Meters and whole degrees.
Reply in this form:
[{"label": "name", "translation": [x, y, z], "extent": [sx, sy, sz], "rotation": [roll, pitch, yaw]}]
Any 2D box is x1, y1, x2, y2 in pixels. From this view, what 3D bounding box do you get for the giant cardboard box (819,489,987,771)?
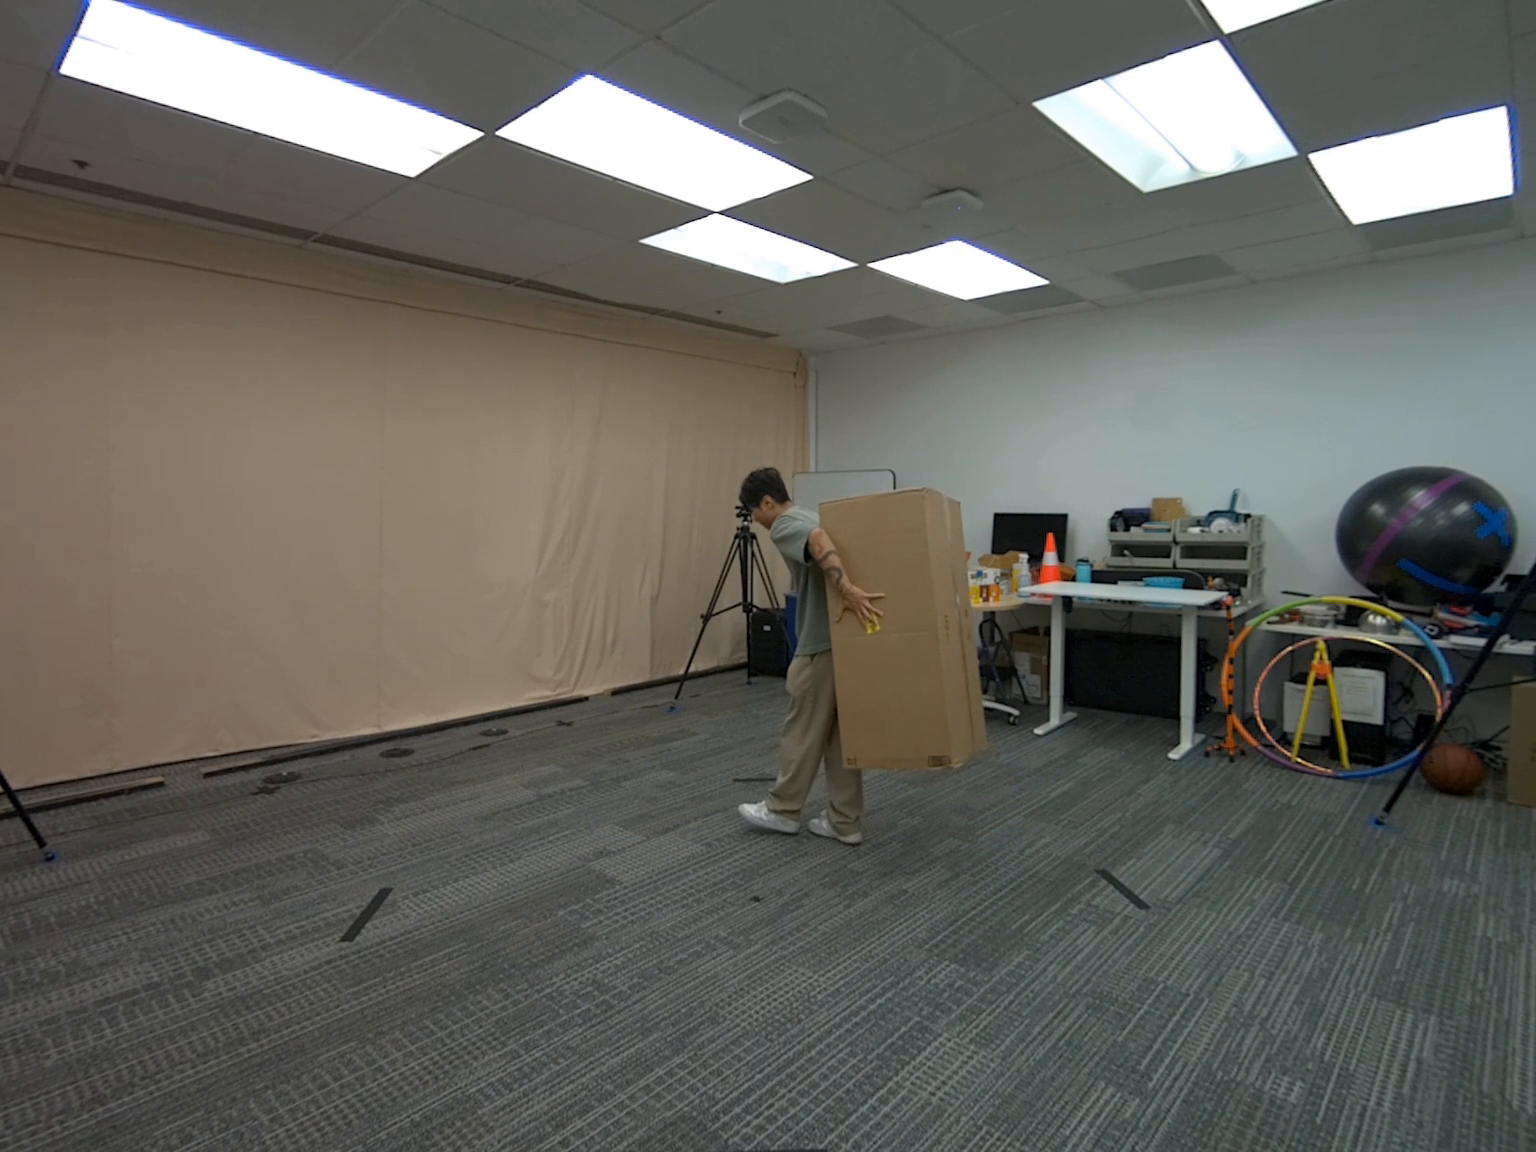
[{"label": "giant cardboard box", "translation": [0.558, 0.210, 3.376], "extent": [0.437, 1.030, 0.561], "rotation": [-8, -6, 27]}]
